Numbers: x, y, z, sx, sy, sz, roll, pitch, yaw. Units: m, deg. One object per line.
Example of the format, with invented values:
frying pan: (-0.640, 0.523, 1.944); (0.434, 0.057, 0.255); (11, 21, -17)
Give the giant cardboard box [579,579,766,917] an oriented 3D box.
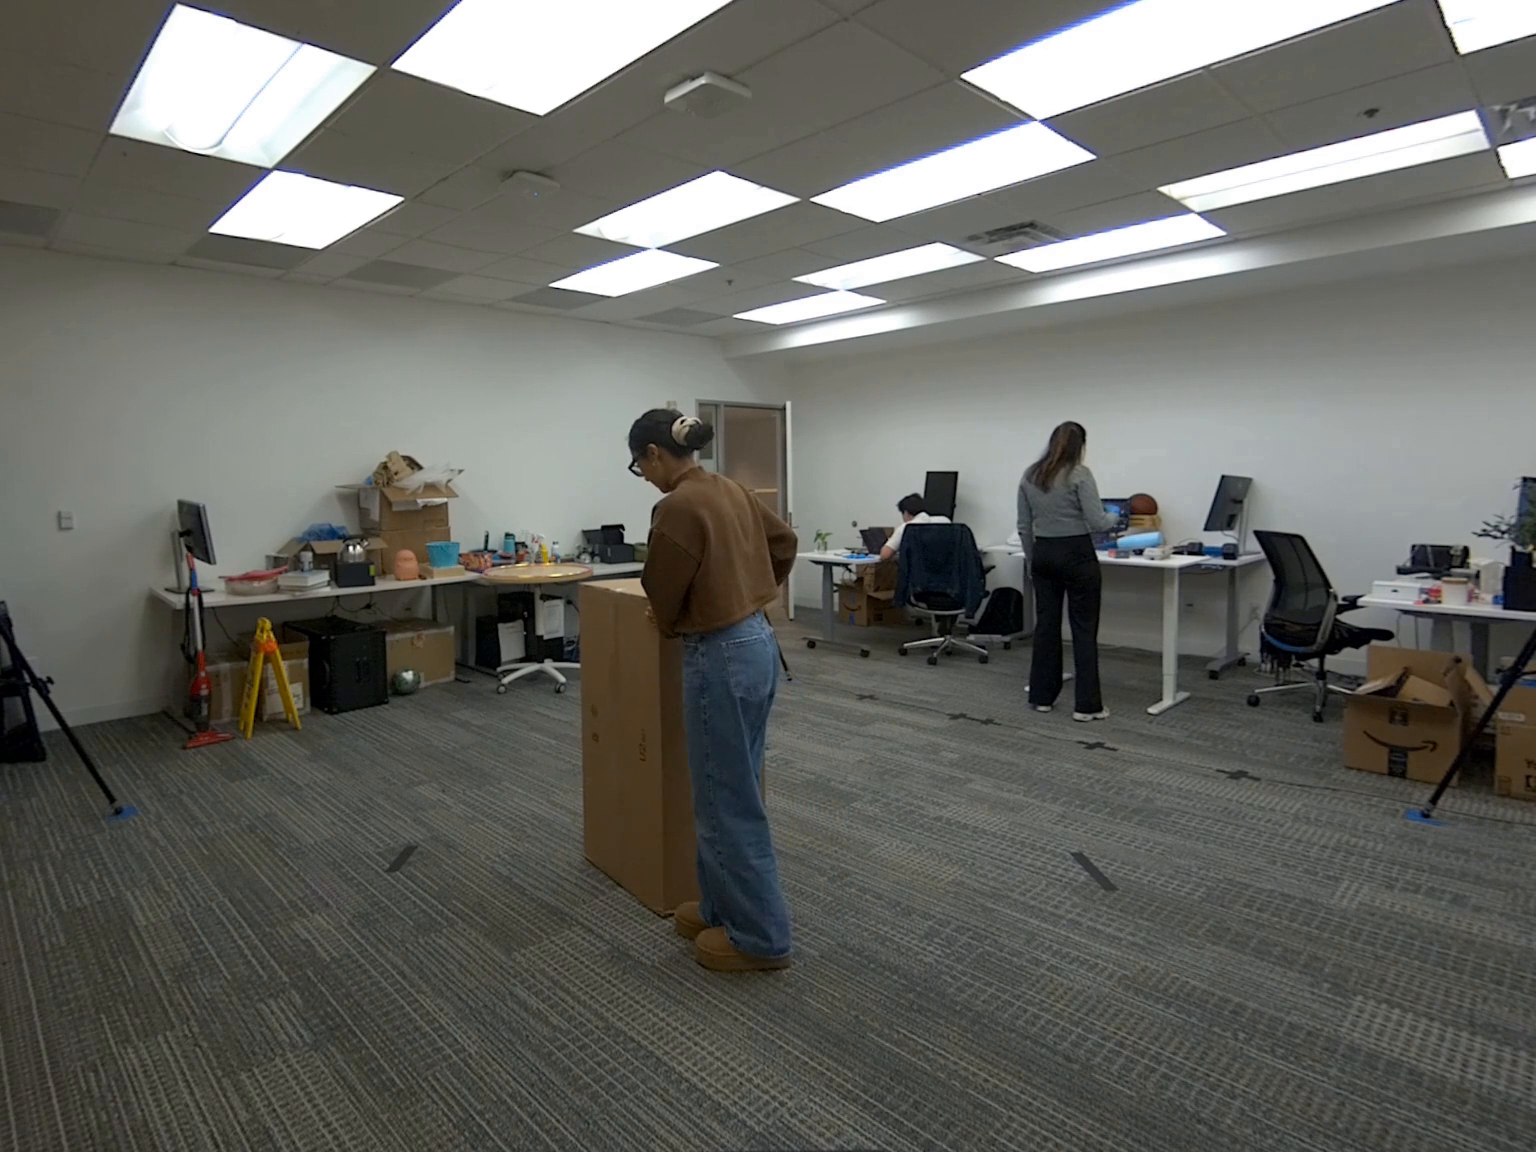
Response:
giant cardboard box: (-0.351, 0.546, 3.053); (0.415, 1.023, 0.594); (-3, 4, -36)
